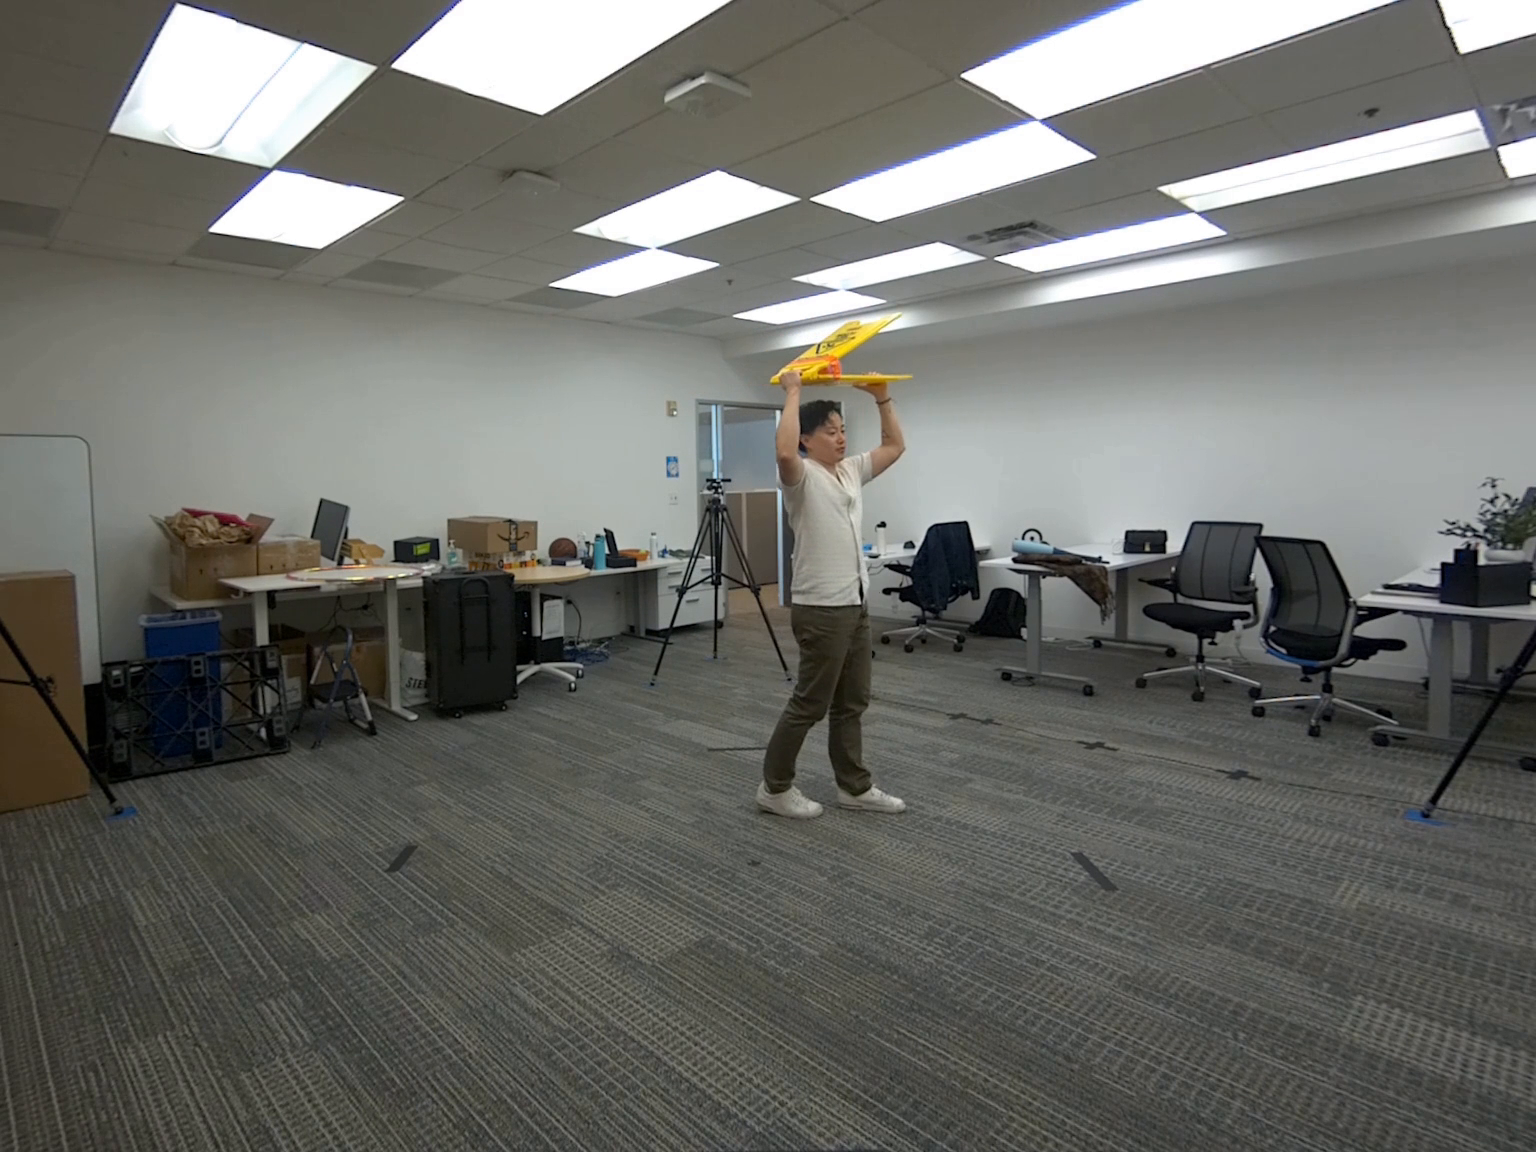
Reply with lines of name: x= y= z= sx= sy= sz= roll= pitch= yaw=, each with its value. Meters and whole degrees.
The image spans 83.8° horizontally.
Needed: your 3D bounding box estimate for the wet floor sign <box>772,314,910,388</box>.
wet floor sign: x=0.273 y=-0.847 z=3.425 sx=0.291 sy=0.285 sz=0.638 roll=2 pitch=22 yaw=42
